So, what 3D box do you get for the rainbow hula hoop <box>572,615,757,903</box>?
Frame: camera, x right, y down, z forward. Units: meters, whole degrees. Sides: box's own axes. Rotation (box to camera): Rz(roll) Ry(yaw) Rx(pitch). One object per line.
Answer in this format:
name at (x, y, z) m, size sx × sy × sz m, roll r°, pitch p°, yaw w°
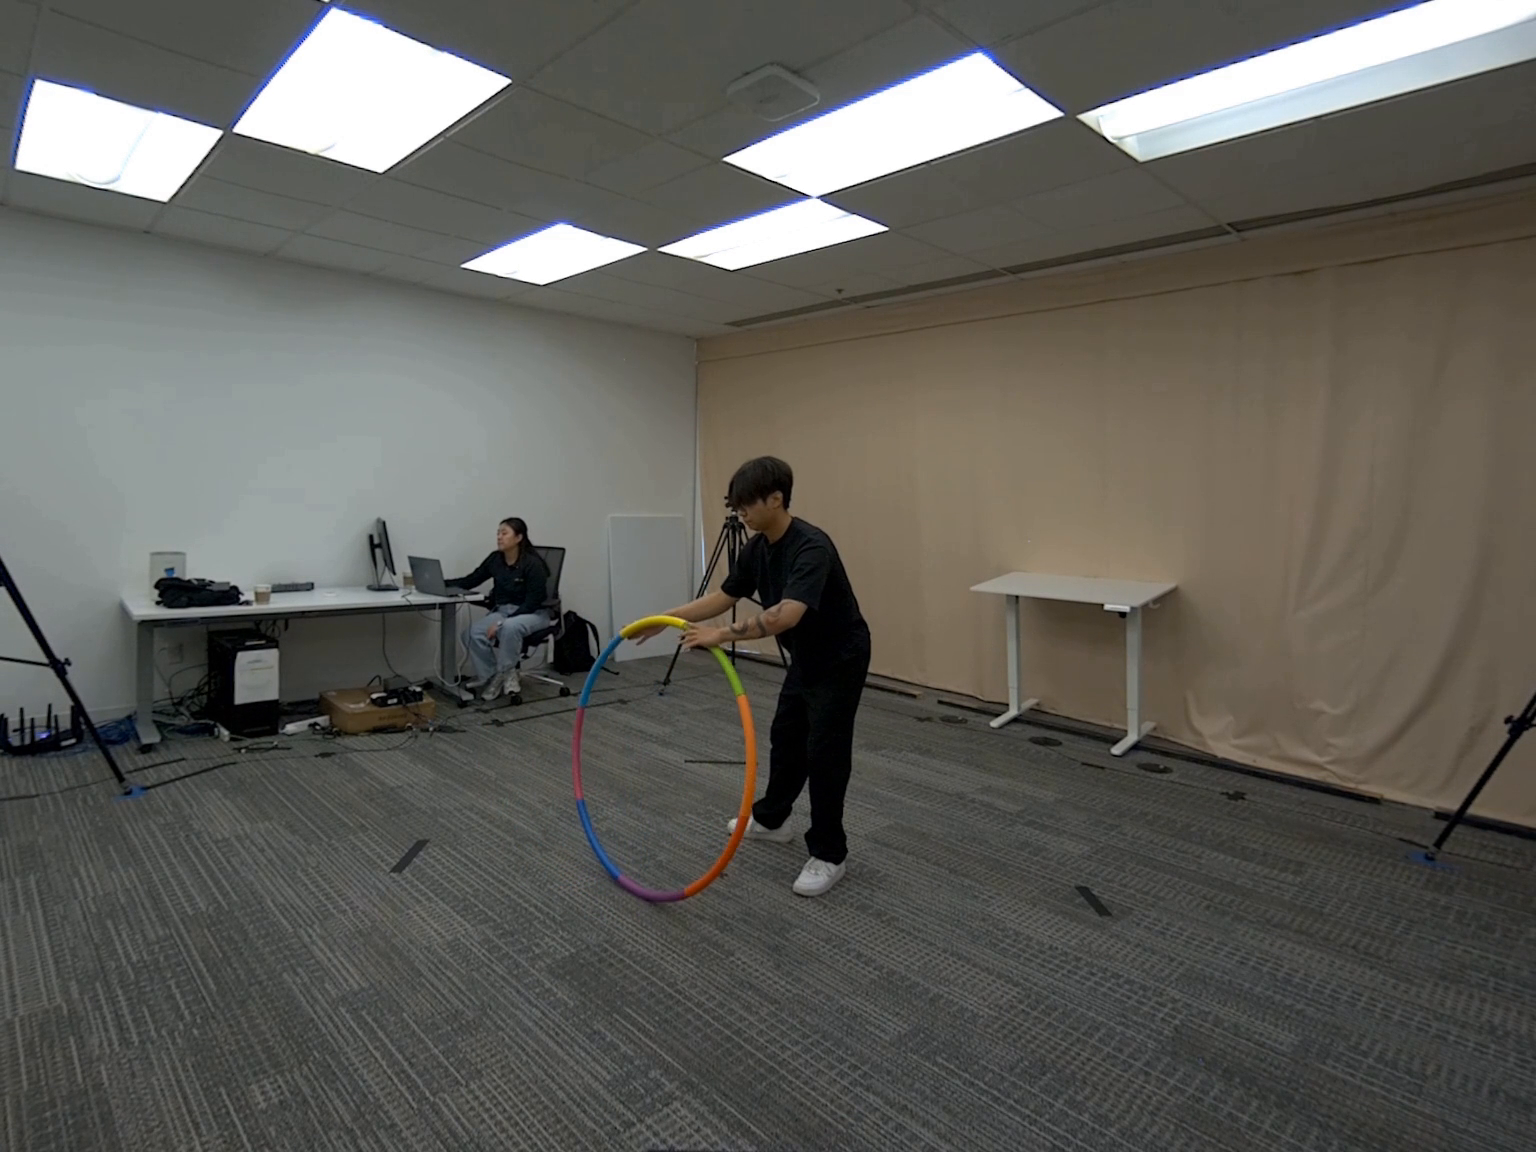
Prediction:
rainbow hula hoop at (-0.409, 0.635, 2.980) m, size 1.004 × 0.981 × 0.034 m, roll 6°, pitch -5°, yaw 45°
